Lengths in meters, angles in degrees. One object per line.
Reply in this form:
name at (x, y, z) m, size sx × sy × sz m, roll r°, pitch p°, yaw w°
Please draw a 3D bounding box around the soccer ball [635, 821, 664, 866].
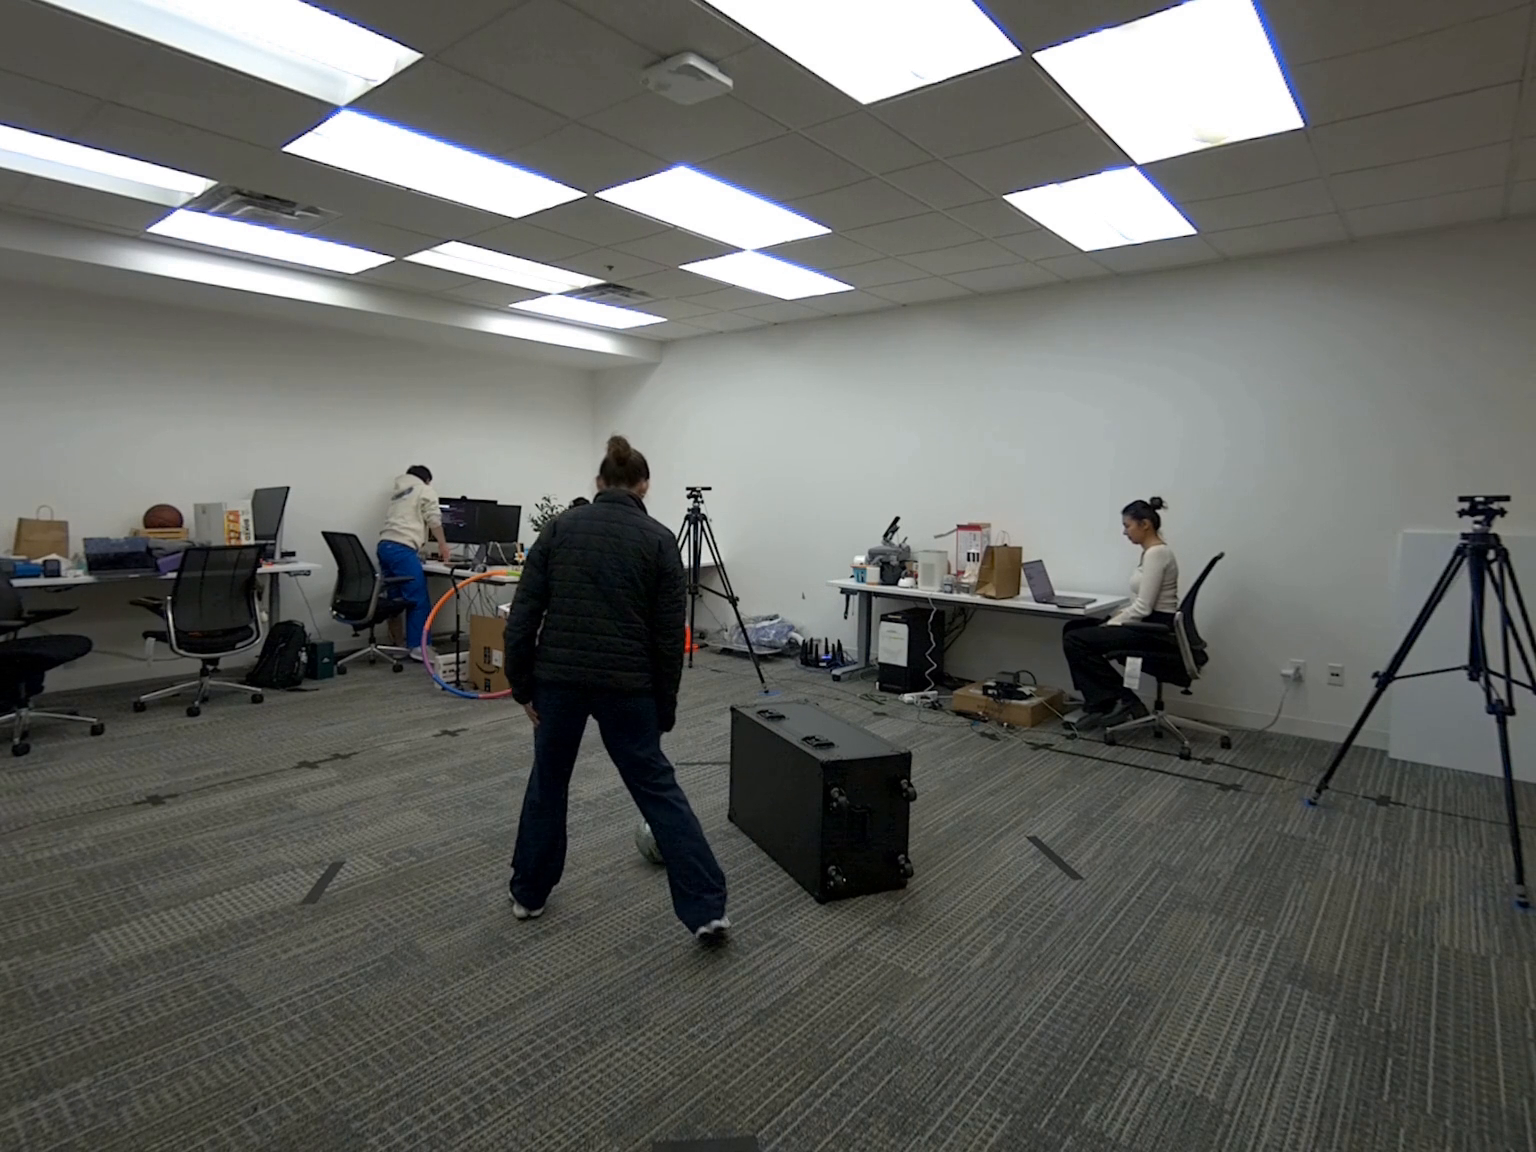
soccer ball at (-0.401, 0.961, 3.169) m, size 0.187 × 0.187 × 0.188 m, roll 1°, pitch 4°, yaw -2°
